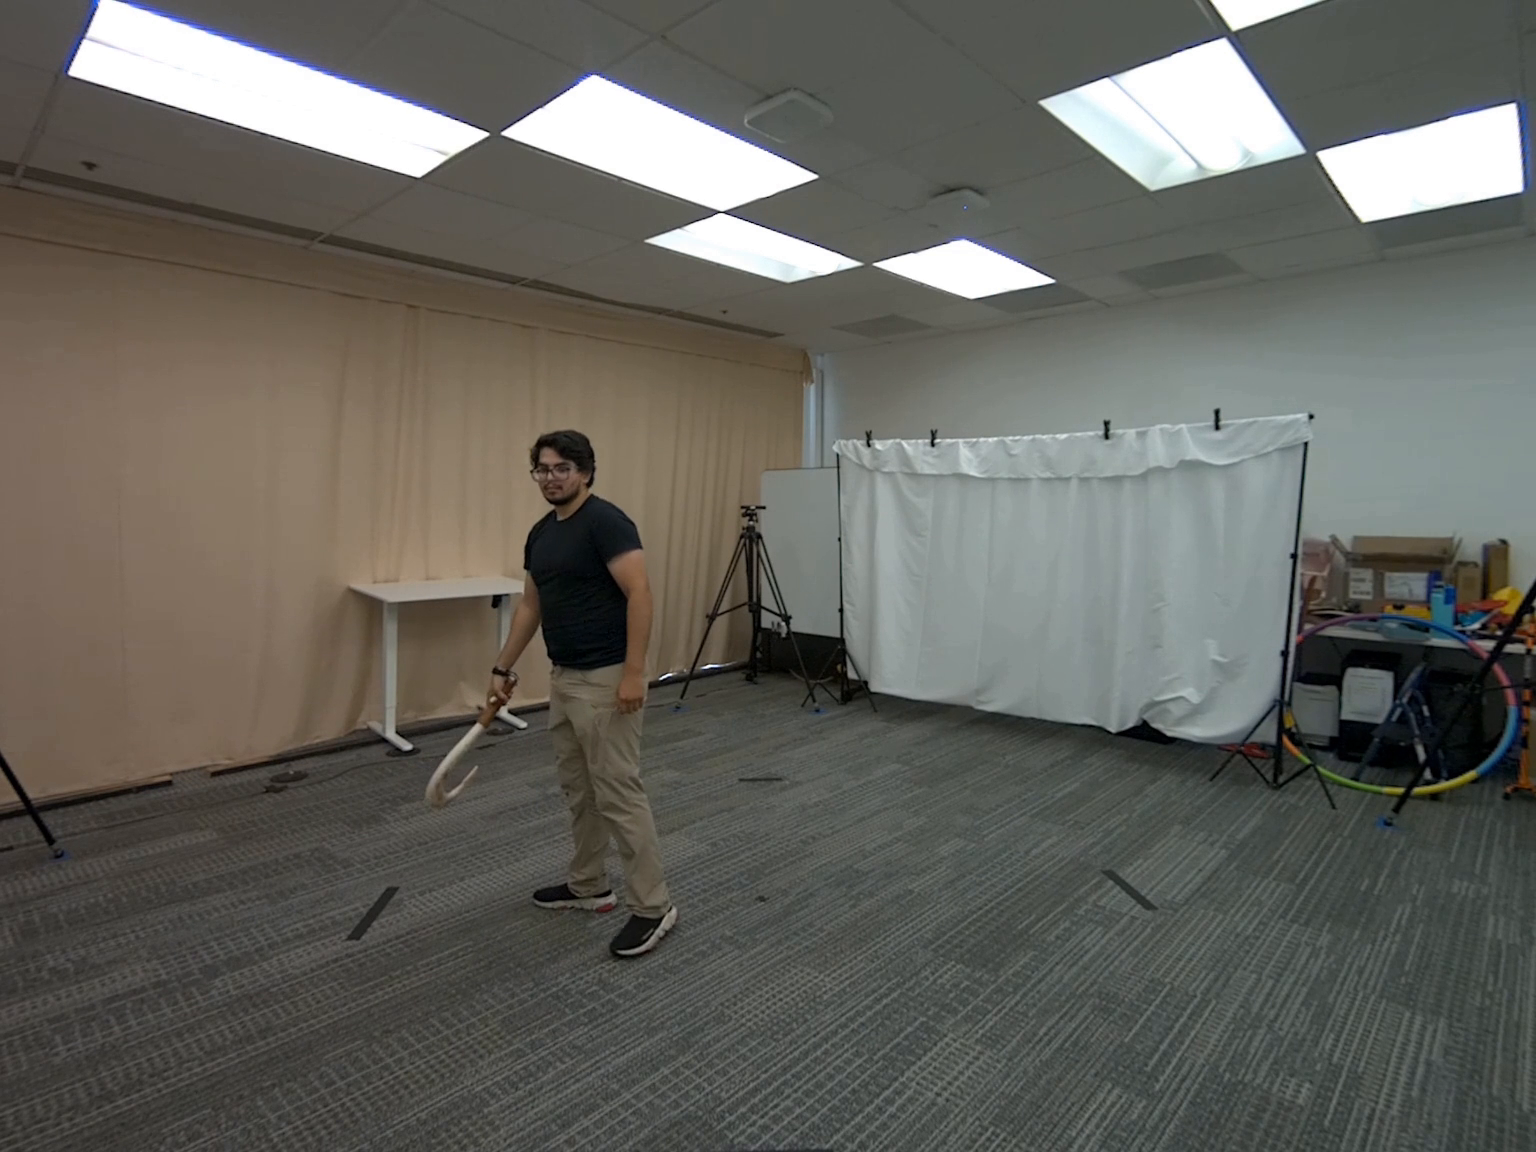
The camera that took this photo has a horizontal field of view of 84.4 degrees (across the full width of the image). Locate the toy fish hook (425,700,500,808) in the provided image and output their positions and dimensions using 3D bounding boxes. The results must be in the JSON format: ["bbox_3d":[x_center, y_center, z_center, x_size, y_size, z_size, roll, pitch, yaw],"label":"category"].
[{"bbox_3d":[-1.021,0.579,2.946,0.049,0.506,0.221,26,-25,13],"label":"toy fish hook"}]
